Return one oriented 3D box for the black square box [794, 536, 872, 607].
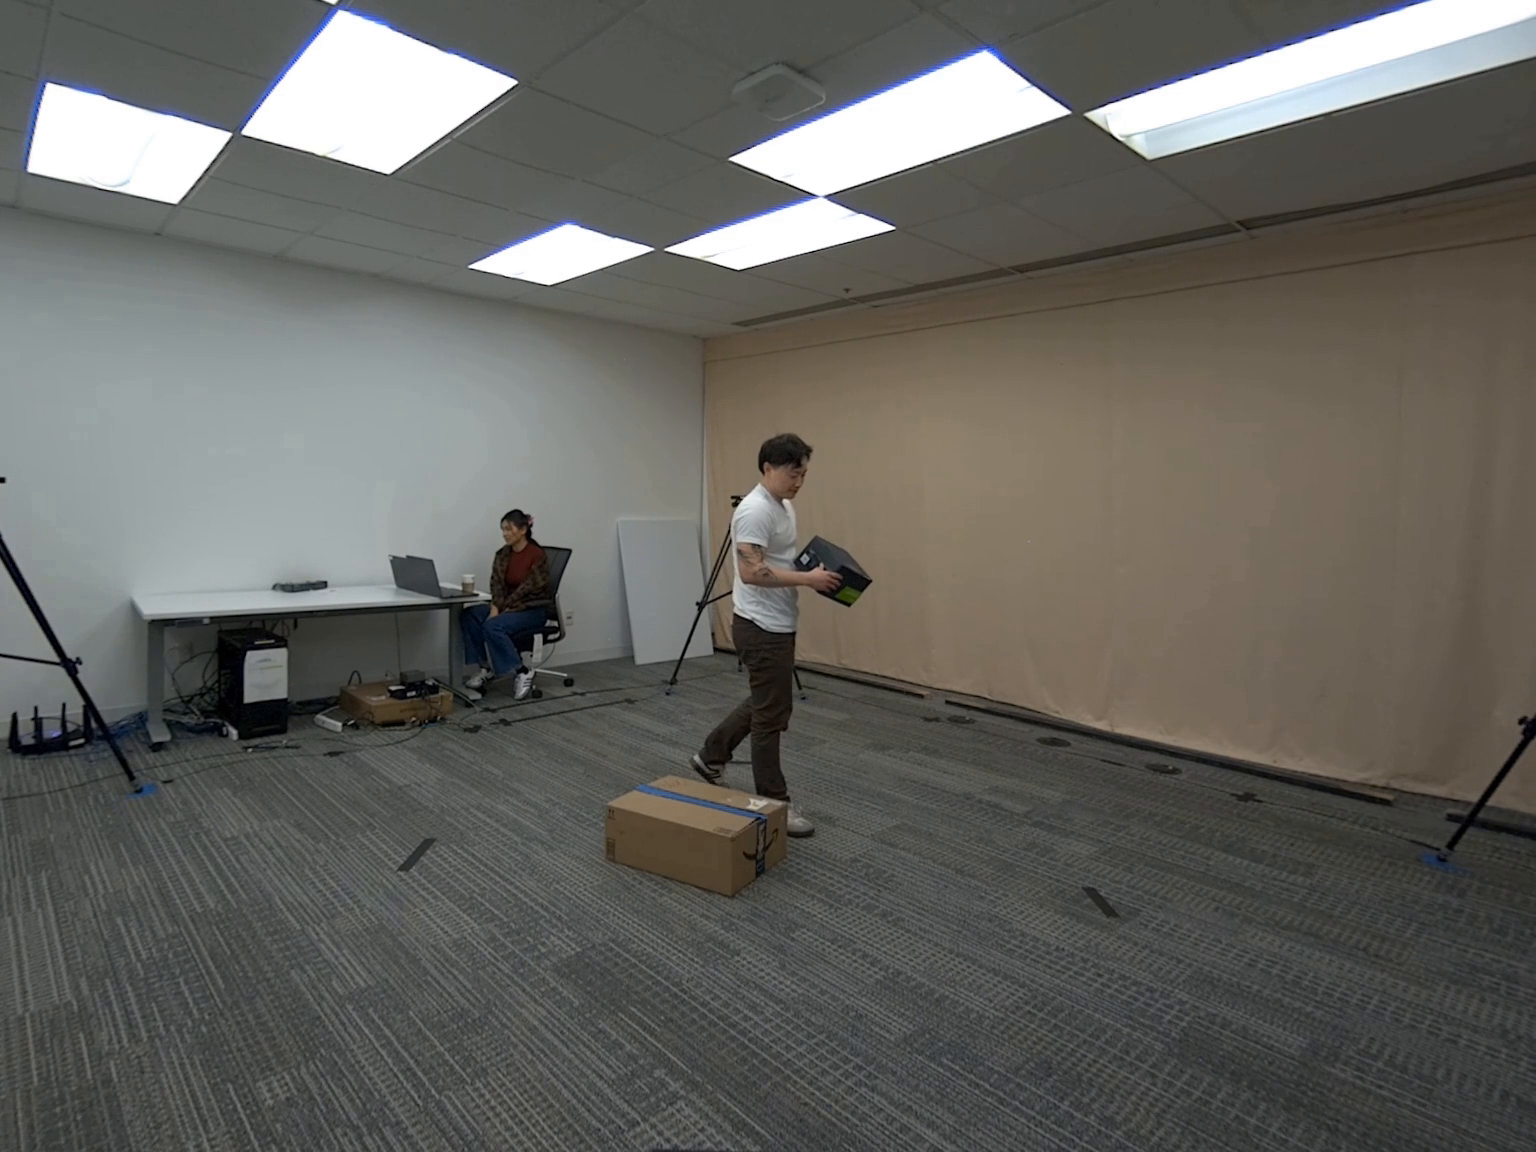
[{"bbox_3d":[0.260,-0.019,3.555,0.221,0.156,0.224,25,21,-43],"label":"black square box"}]
